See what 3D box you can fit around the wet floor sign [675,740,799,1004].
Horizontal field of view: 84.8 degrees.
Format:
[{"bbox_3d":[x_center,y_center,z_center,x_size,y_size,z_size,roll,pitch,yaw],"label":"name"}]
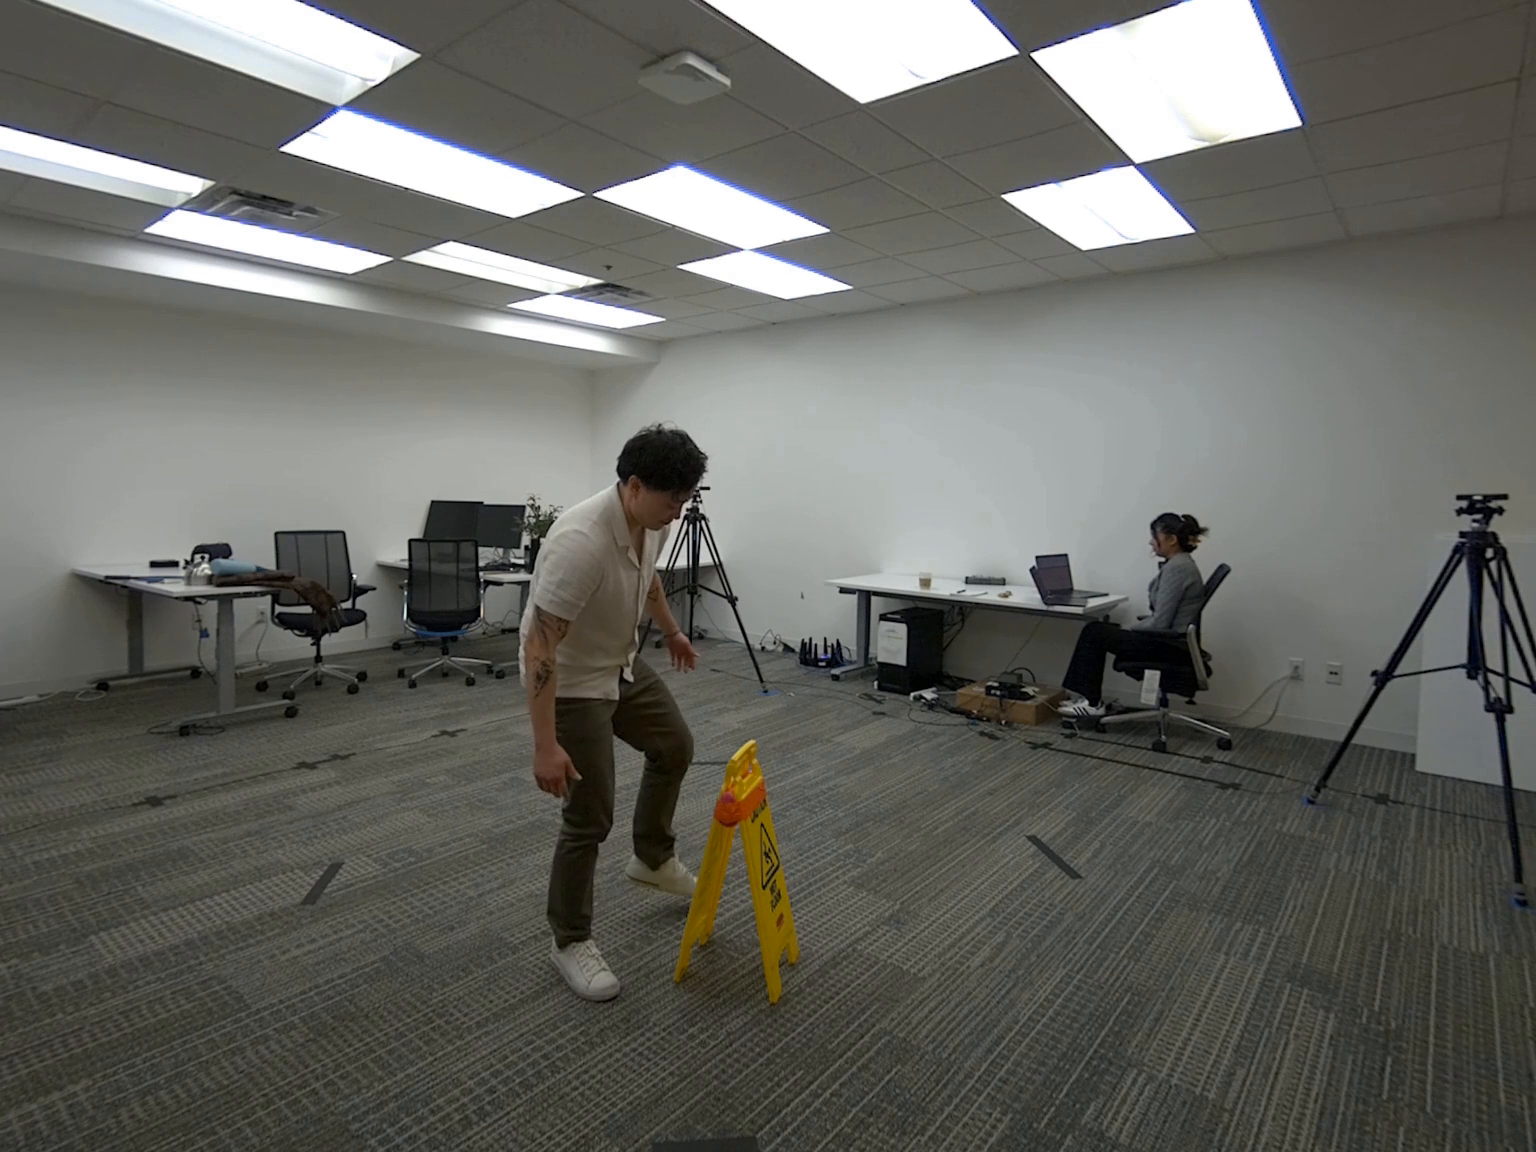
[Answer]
[{"bbox_3d":[-0.082,0.810,2.445,0.295,0.643,0.278,3,5,17],"label":"wet floor sign"}]
